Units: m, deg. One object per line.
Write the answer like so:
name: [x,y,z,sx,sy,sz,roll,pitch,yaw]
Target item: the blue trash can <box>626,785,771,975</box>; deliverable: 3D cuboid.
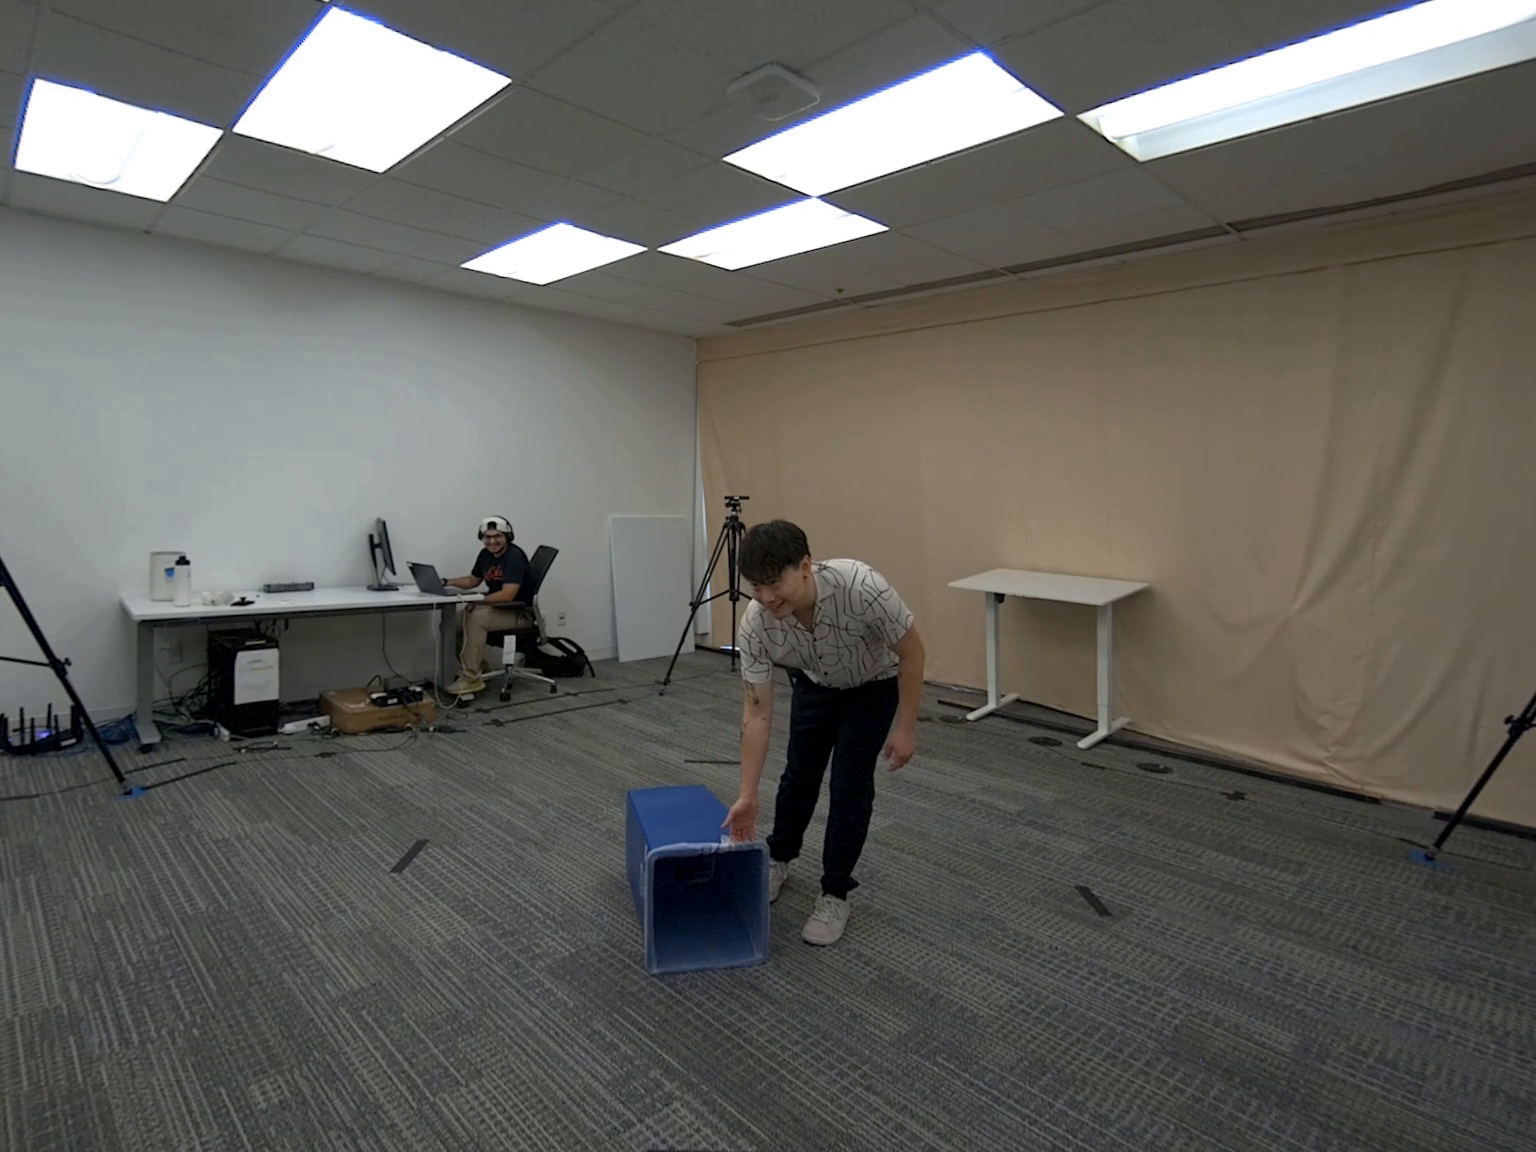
blue trash can: [-0.275,0.963,2.812,0.373,0.374,0.722,1,2,-16]
